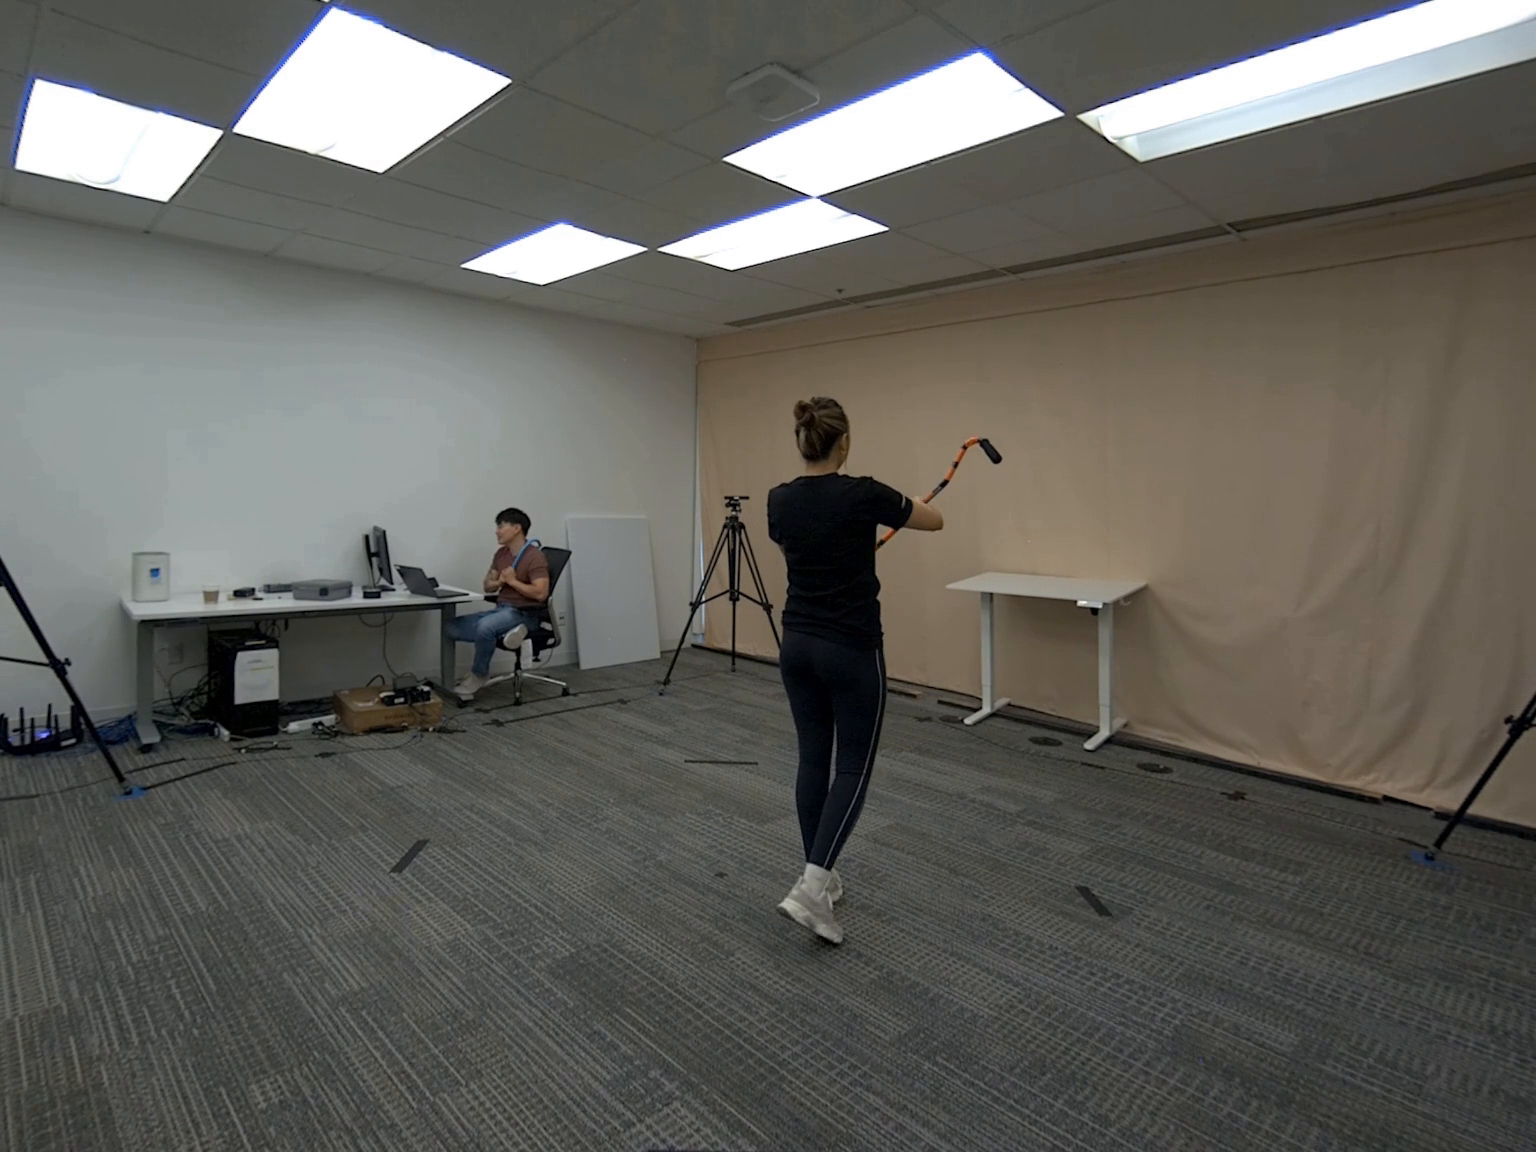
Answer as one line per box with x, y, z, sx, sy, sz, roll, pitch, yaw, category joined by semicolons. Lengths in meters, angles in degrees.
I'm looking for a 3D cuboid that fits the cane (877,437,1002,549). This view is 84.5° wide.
0.509;-0.184;3.196;0.147;0.908;0.212;26;32;-33;cane
